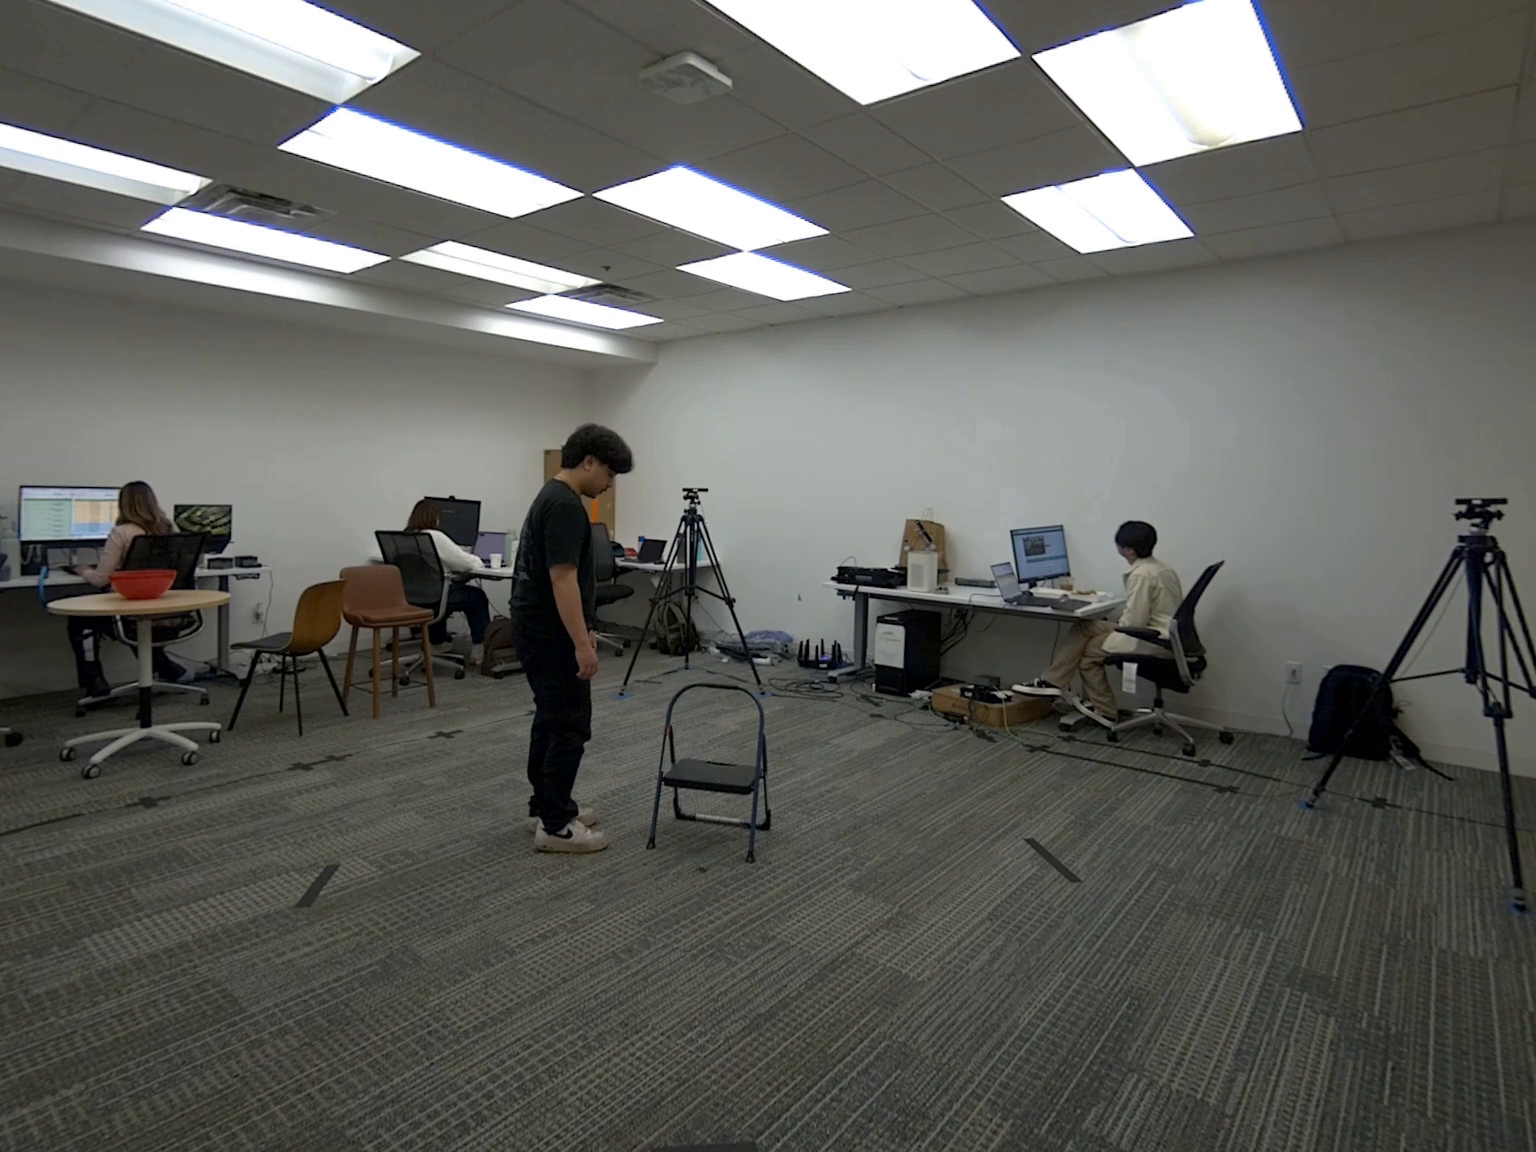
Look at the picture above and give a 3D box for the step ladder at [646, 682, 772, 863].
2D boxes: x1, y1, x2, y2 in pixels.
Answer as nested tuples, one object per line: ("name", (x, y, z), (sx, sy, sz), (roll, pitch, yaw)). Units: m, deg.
("step ladder", (-0.228, 0.744, 3.373), (0.437, 0.604, 0.345), (2, 4, 14))
